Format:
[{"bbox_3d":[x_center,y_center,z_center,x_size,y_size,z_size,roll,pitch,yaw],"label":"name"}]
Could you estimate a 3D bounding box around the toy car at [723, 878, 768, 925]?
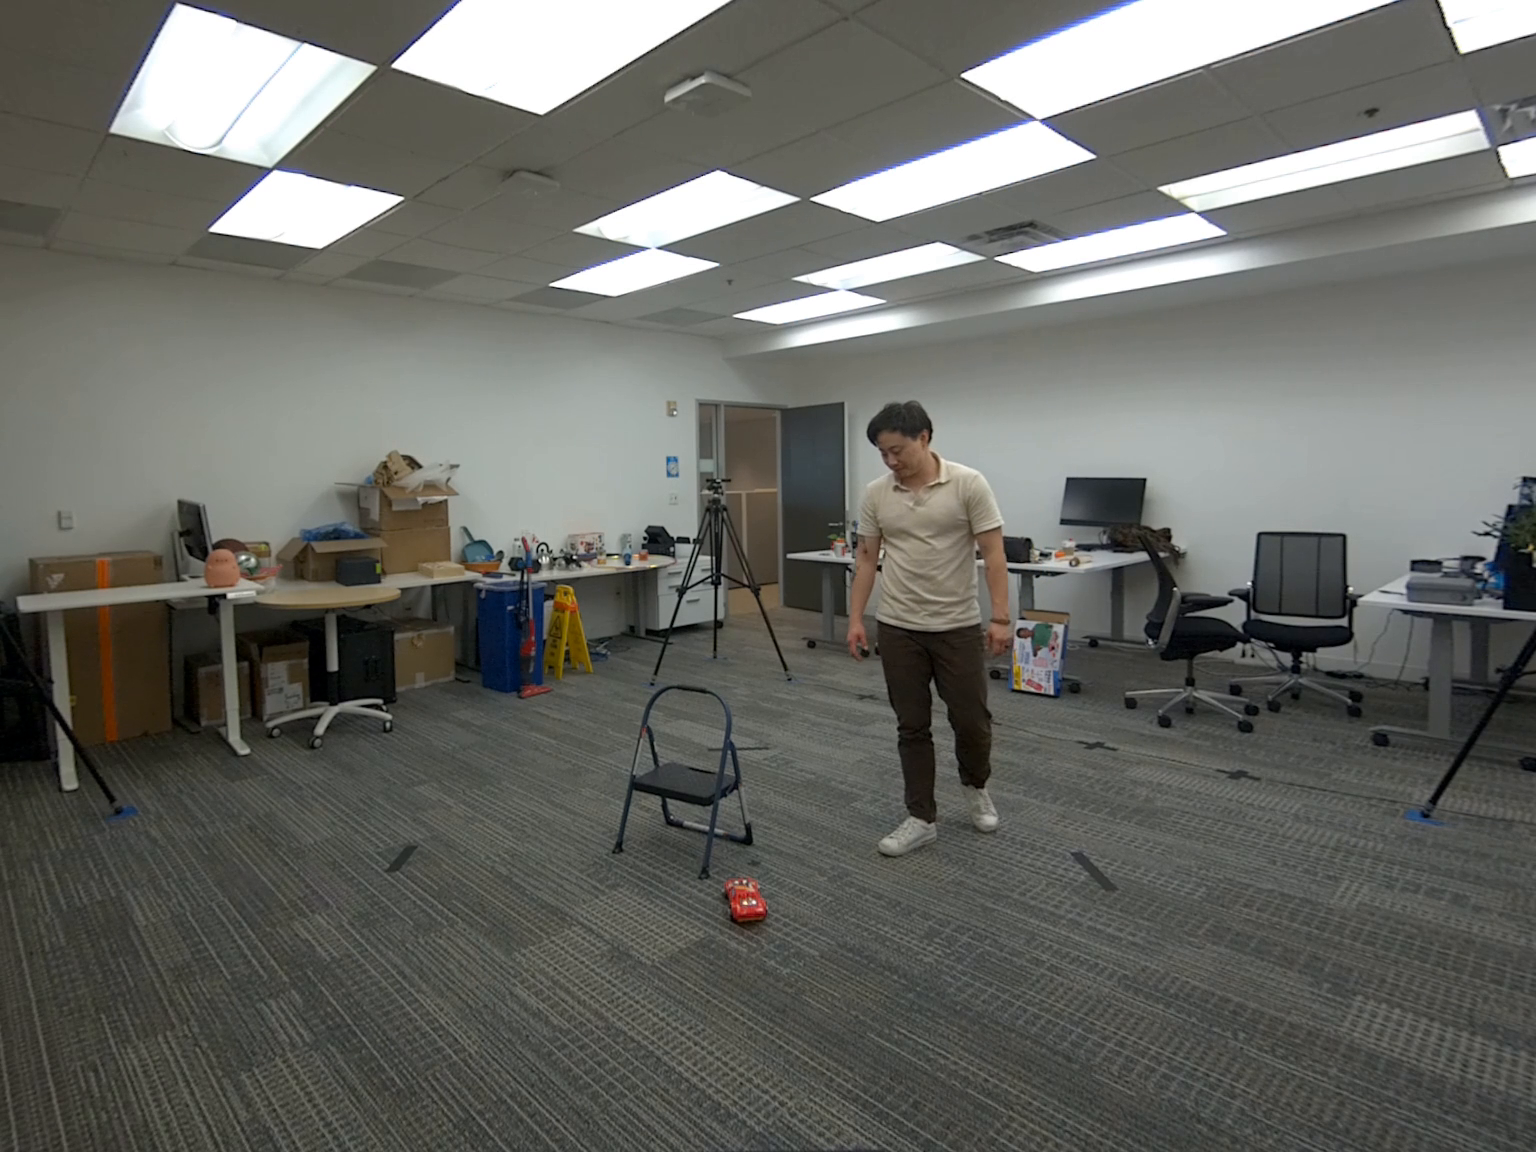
[{"bbox_3d":[-0.067,1.056,2.759,0.129,0.084,0.255,-2,-5,-11],"label":"toy car"}]
